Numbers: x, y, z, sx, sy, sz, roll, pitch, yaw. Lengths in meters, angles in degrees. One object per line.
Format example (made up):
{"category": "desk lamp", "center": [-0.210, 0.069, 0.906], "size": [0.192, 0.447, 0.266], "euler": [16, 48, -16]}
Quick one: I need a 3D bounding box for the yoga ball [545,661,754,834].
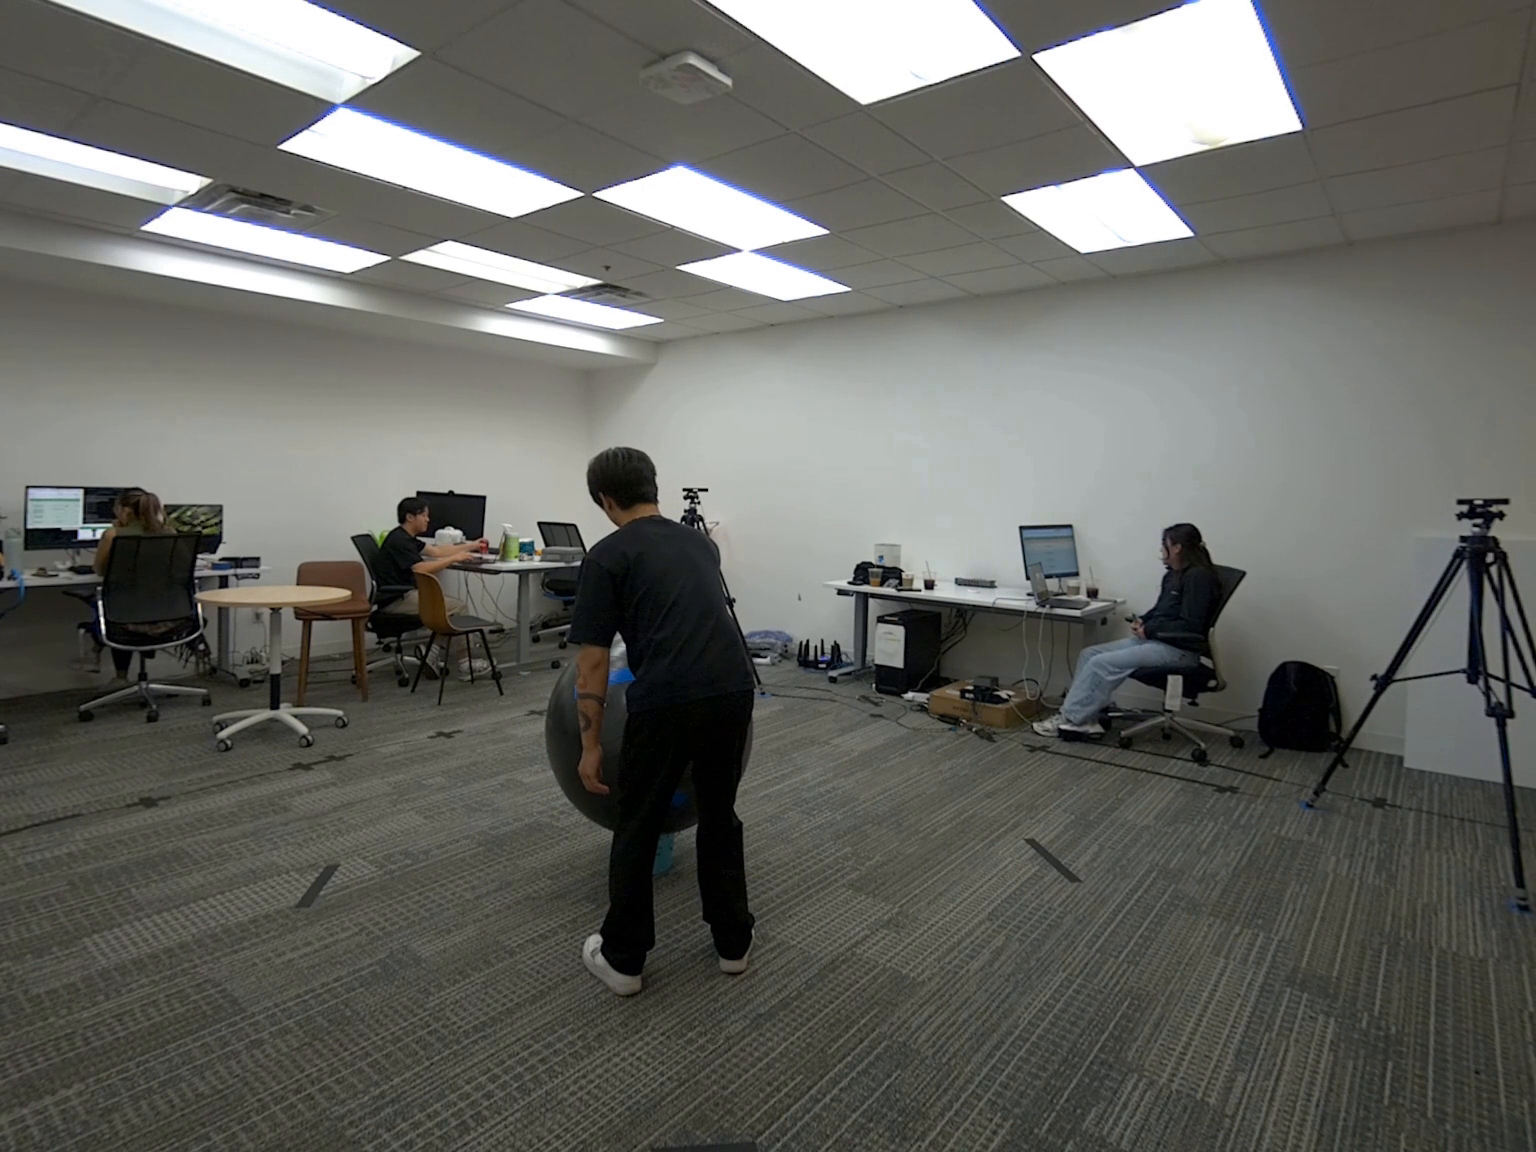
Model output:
{"category": "yoga ball", "center": [-0.444, 0.556, 3.129], "size": [0.757, 0.756, 0.762], "euler": [1, 4, -2]}
